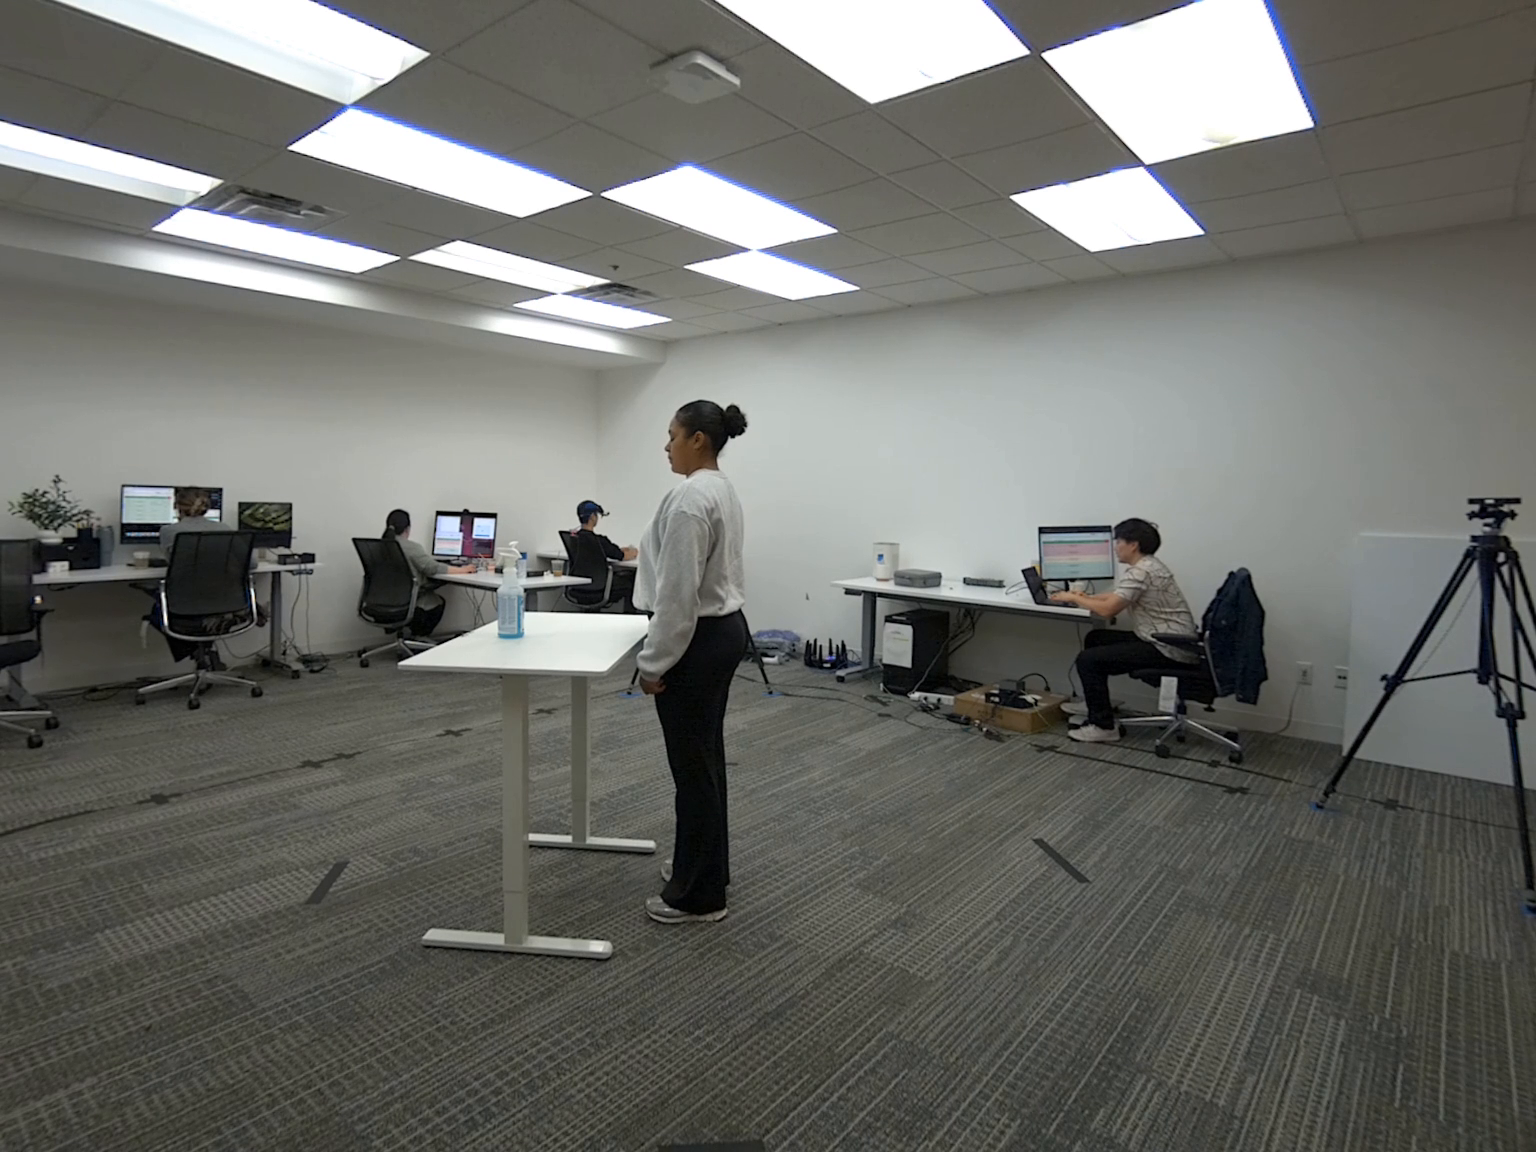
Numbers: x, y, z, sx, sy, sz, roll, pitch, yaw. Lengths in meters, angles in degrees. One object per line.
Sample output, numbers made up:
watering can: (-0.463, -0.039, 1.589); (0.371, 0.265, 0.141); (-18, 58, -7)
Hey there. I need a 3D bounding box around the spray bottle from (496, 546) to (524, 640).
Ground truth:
spray bottle: (-0.875, 0.056, 2.849); (0.093, 0.297, 0.084); (0, 2, 35)
